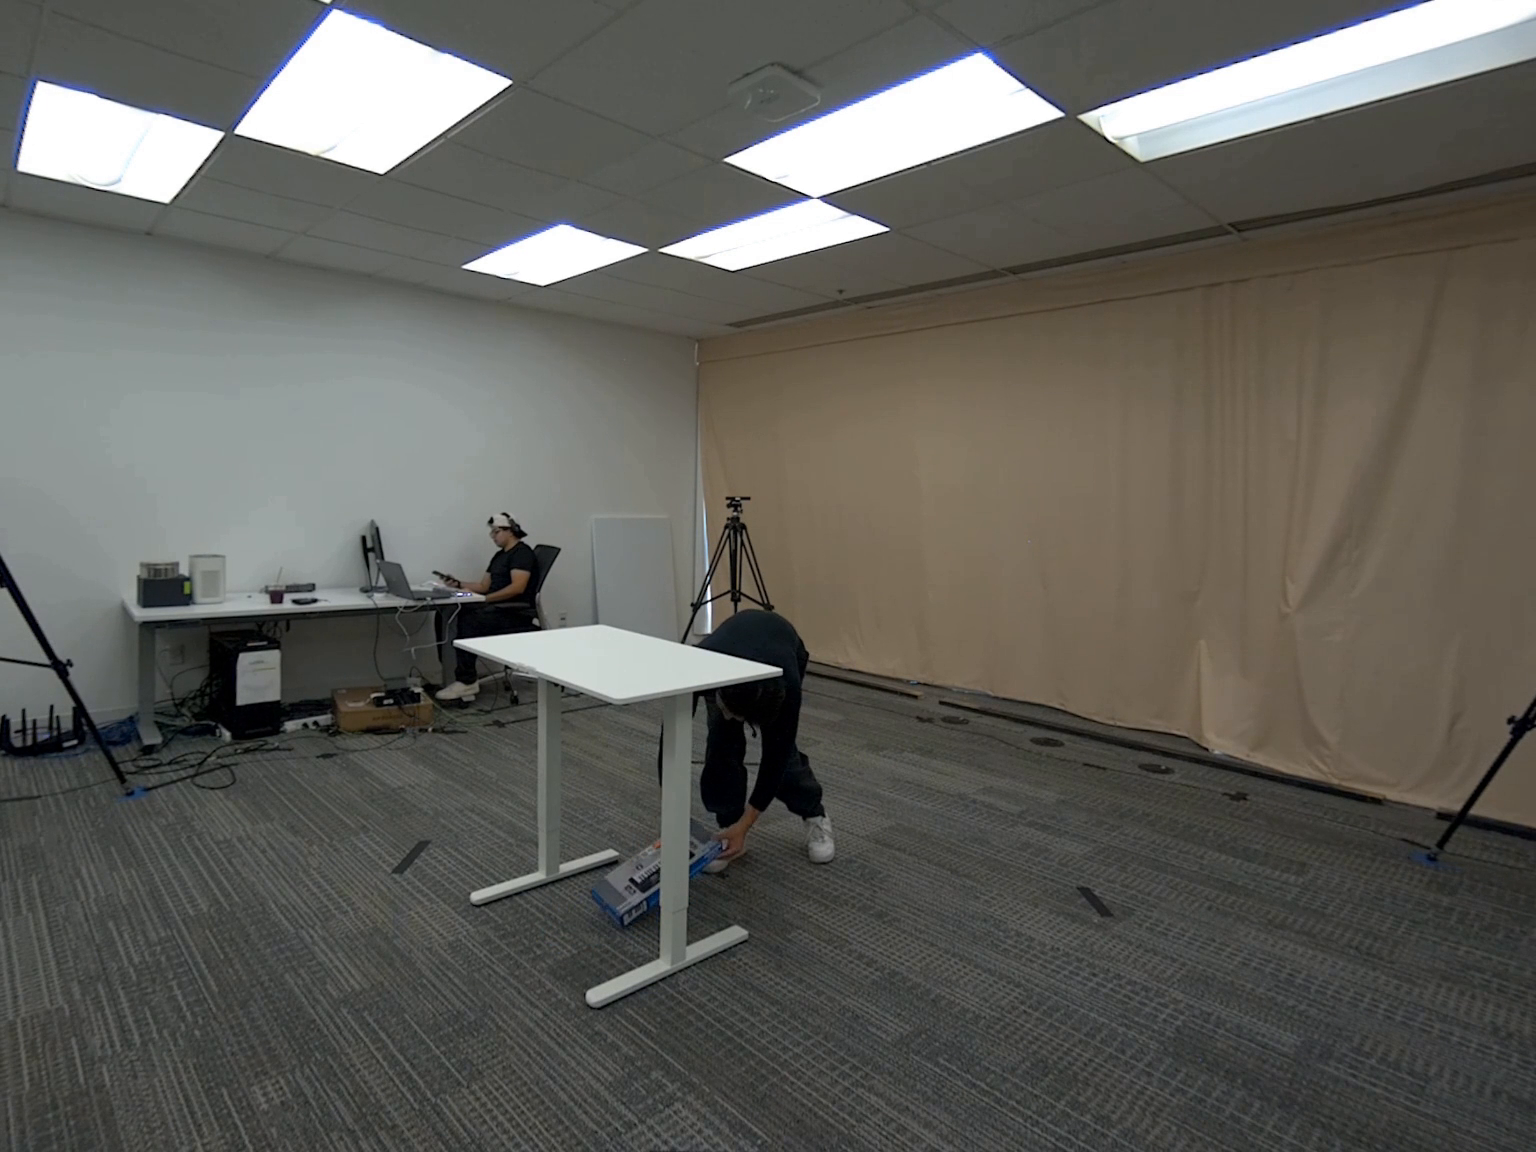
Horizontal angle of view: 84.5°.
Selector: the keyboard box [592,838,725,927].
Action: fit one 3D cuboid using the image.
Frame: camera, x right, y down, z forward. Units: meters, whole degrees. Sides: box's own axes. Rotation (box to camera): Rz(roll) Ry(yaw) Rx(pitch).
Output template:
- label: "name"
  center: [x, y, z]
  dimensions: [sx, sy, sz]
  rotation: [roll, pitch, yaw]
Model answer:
- label: "keyboard box"
  center: [-0.375, 0.997, 2.831]
  dimensions: [0.431, 0.058, 0.181]
  rotation: [-24, 31, -35]
